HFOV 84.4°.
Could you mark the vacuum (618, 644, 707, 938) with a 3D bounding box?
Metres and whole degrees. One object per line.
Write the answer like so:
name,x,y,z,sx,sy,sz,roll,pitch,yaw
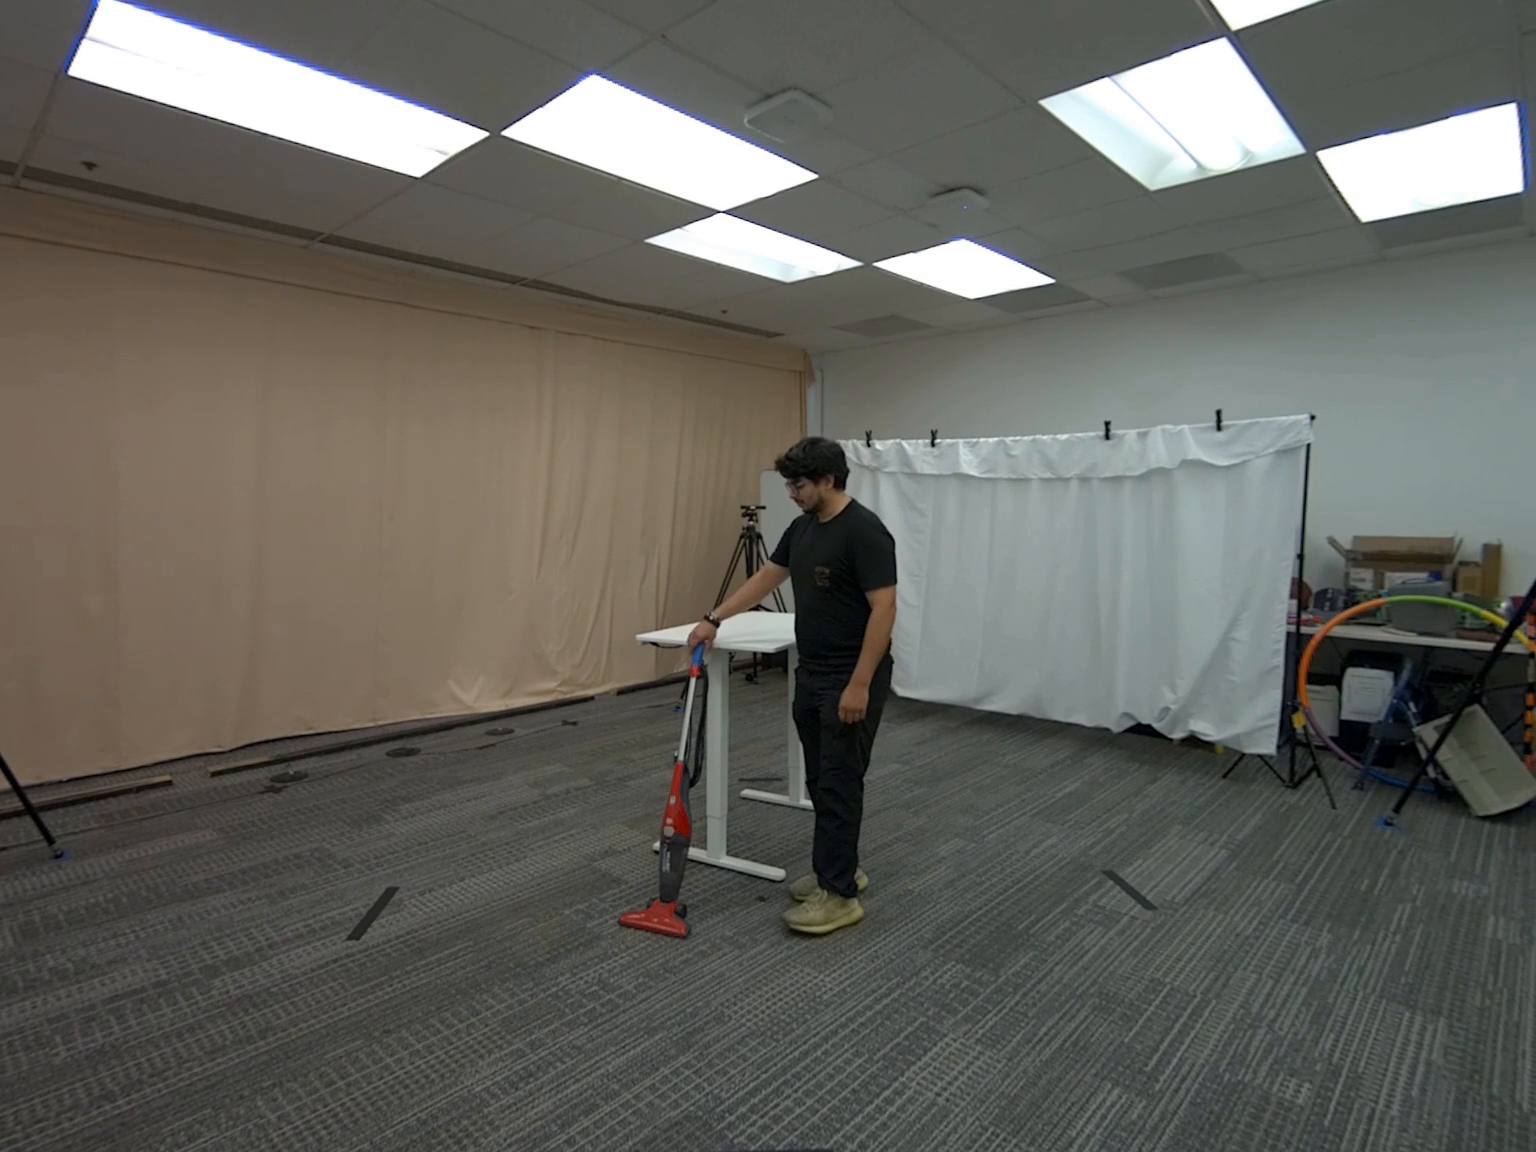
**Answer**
vacuum,-0.295,0.671,2.979,0.259,1.058,0.139,1,-20,23
